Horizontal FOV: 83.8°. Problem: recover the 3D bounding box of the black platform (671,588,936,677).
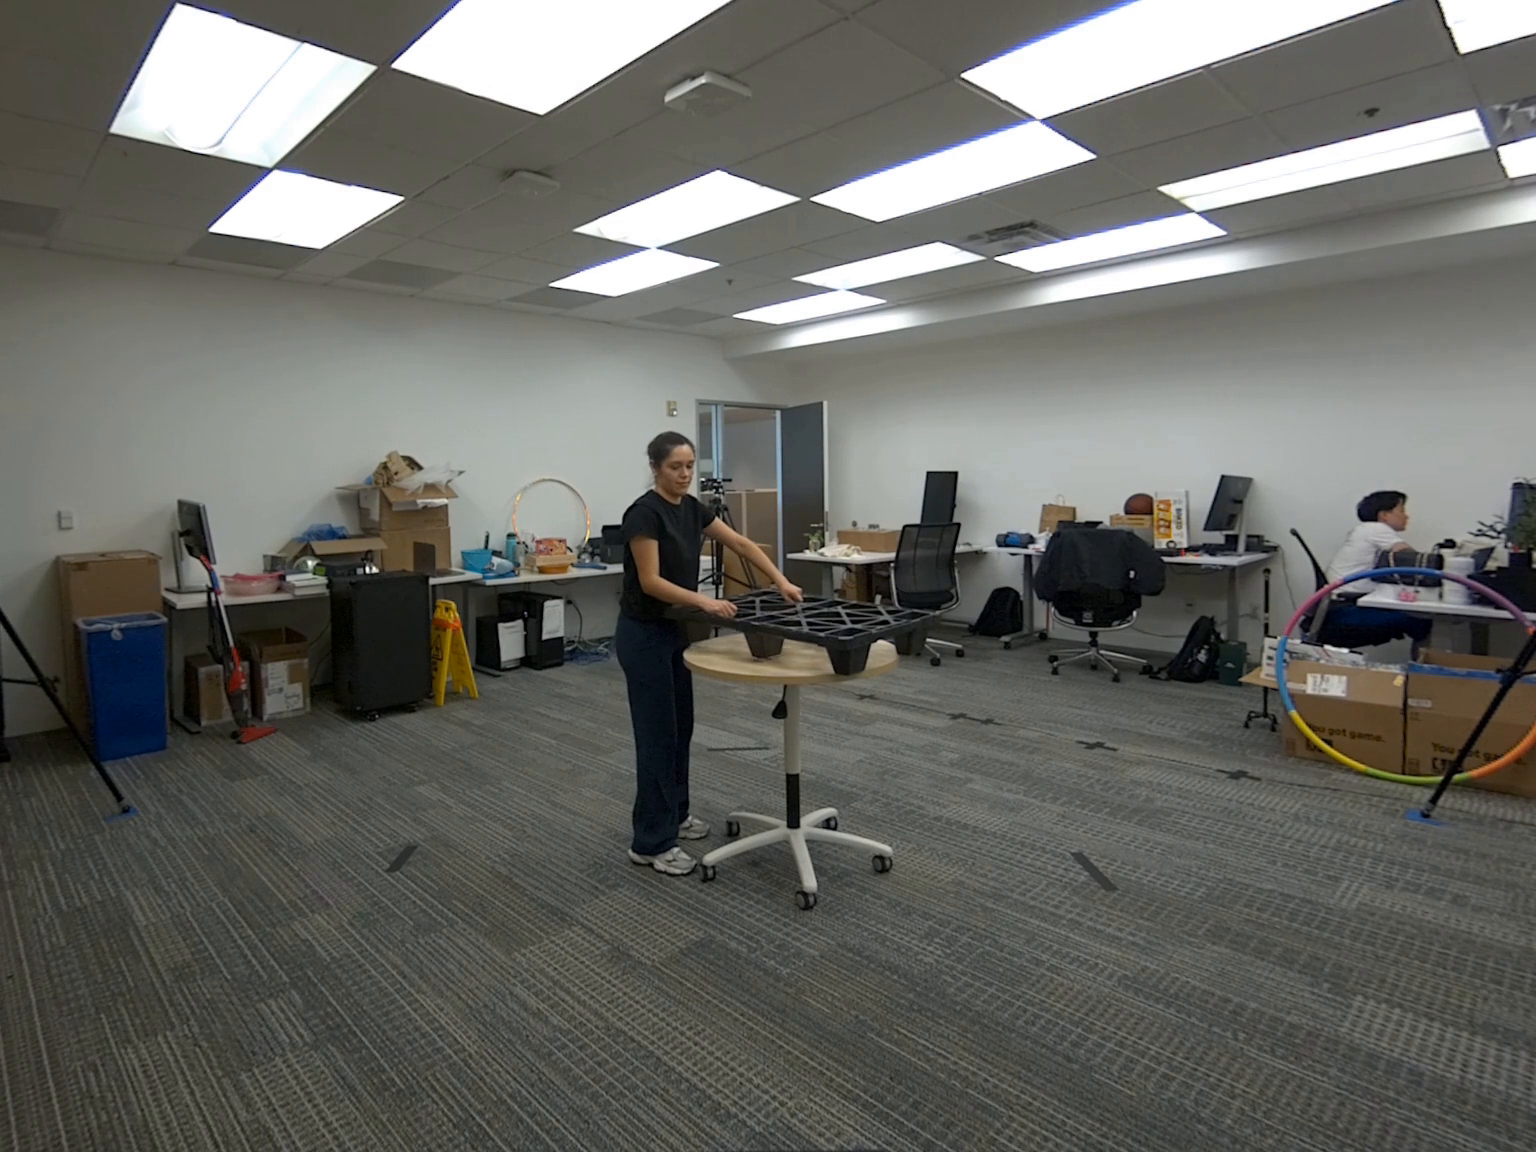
[{"bbox_3d":[0.113,0.186,3.058,0.831,0.142,0.589,7,10,41],"label":"black platform"}]
